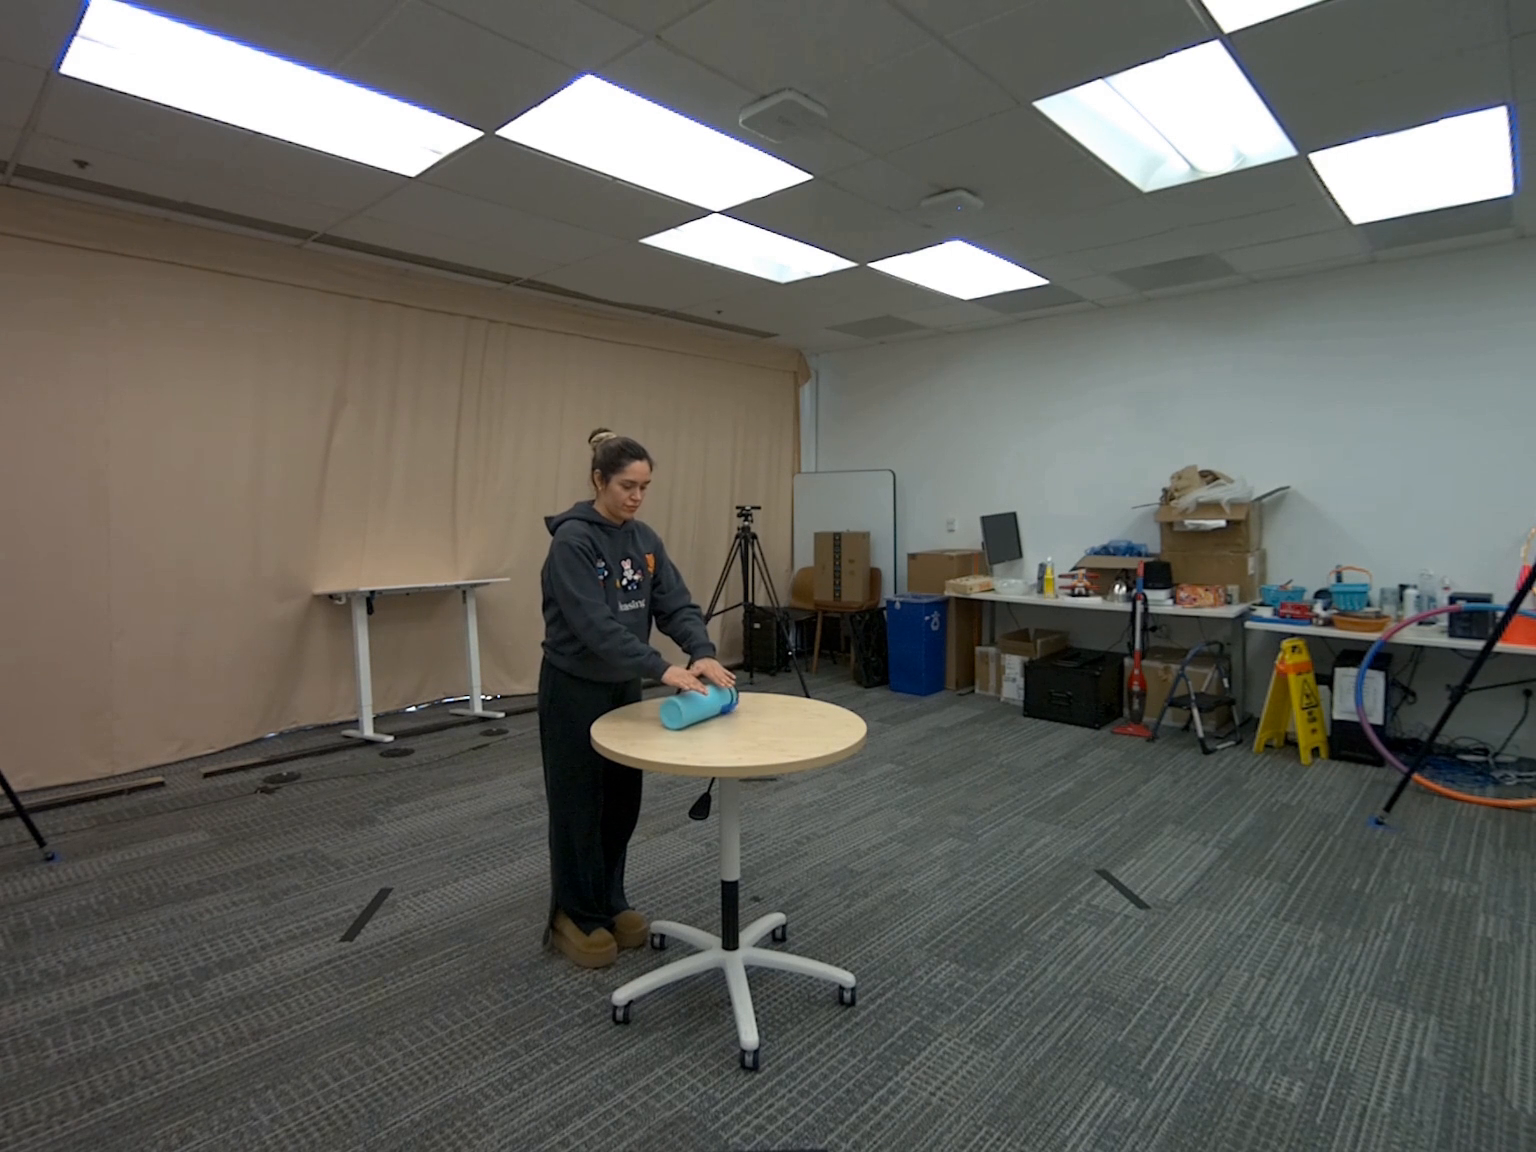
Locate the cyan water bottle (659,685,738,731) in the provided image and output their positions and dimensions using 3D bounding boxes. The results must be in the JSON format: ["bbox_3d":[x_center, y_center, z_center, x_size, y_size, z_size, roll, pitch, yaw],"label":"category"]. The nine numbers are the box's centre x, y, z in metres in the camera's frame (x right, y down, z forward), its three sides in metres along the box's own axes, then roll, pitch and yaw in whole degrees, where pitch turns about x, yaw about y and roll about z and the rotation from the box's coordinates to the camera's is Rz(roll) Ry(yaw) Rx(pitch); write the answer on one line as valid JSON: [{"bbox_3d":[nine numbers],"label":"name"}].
[{"bbox_3d":[-0.177,0.364,2.402,0.095,0.092,0.275,3,8,36],"label":"cyan water bottle"}]
